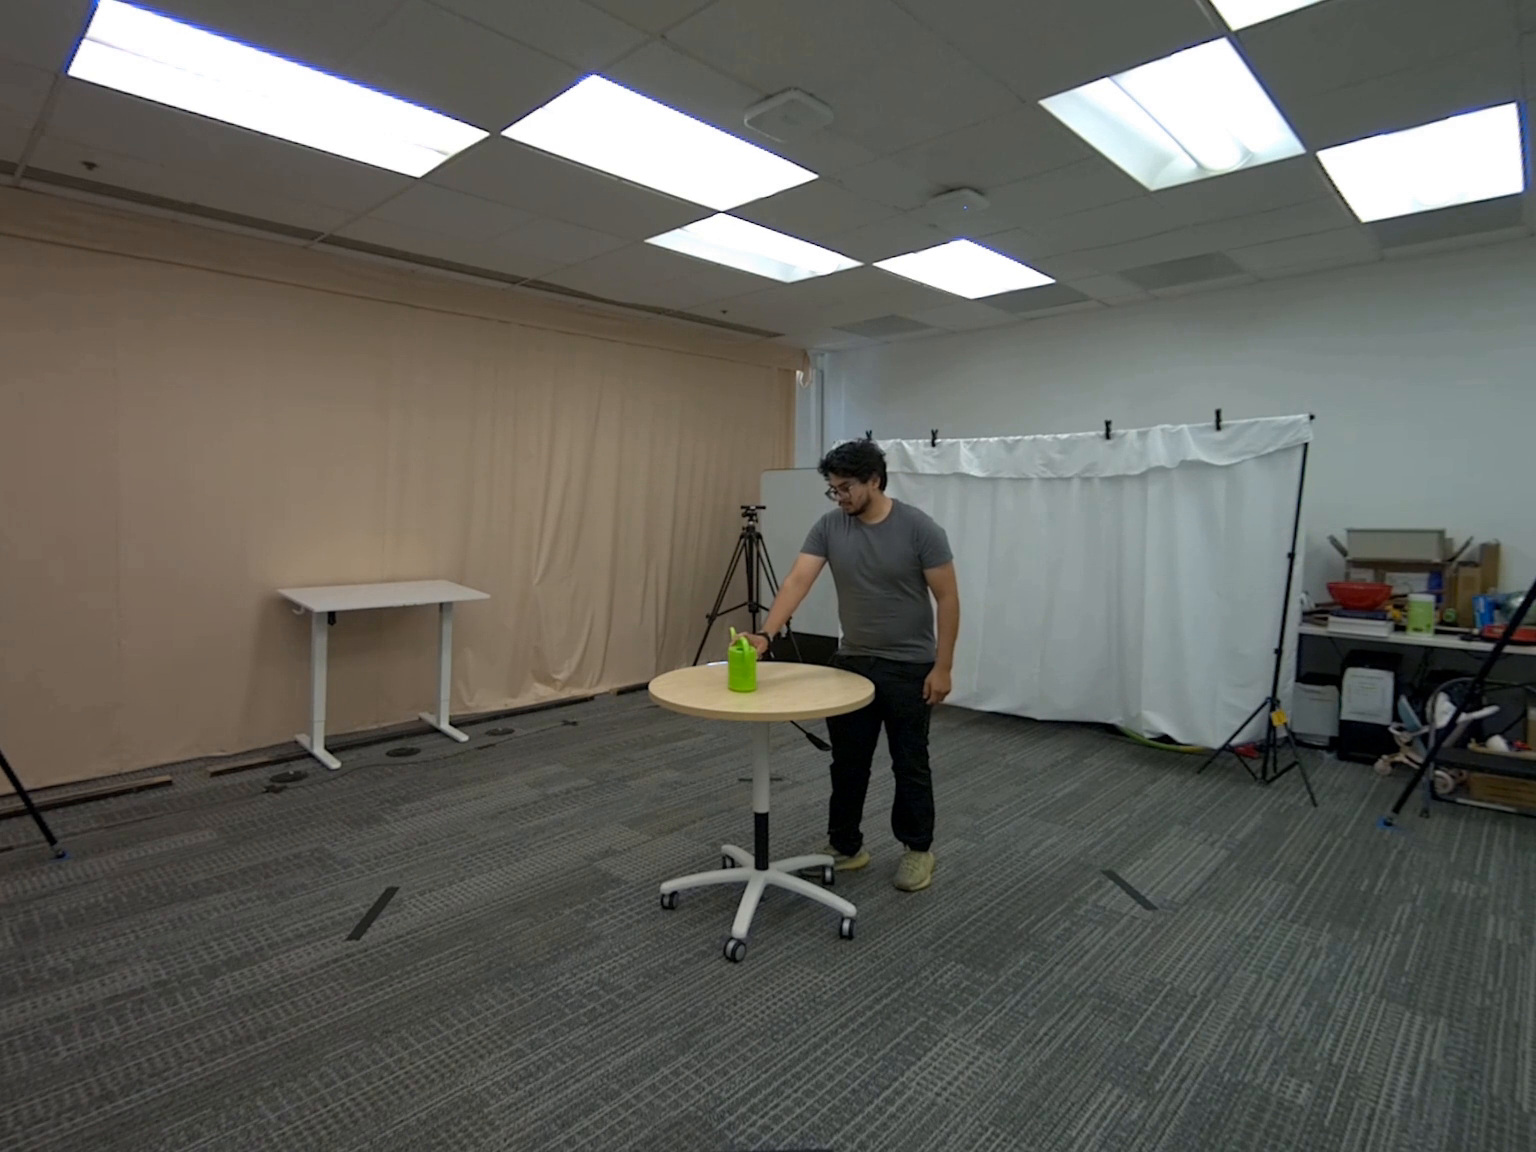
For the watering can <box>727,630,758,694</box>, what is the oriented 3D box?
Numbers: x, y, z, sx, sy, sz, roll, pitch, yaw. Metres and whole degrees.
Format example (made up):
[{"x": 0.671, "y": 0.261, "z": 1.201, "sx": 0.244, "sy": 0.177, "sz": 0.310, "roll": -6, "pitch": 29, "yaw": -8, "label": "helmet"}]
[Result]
[{"x": -0.086, "y": 0.291, "z": 2.847, "sx": 0.098, "sy": 0.176, "sz": 0.279, "roll": 0, "pitch": 7, "yaw": 0, "label": "watering can"}]
